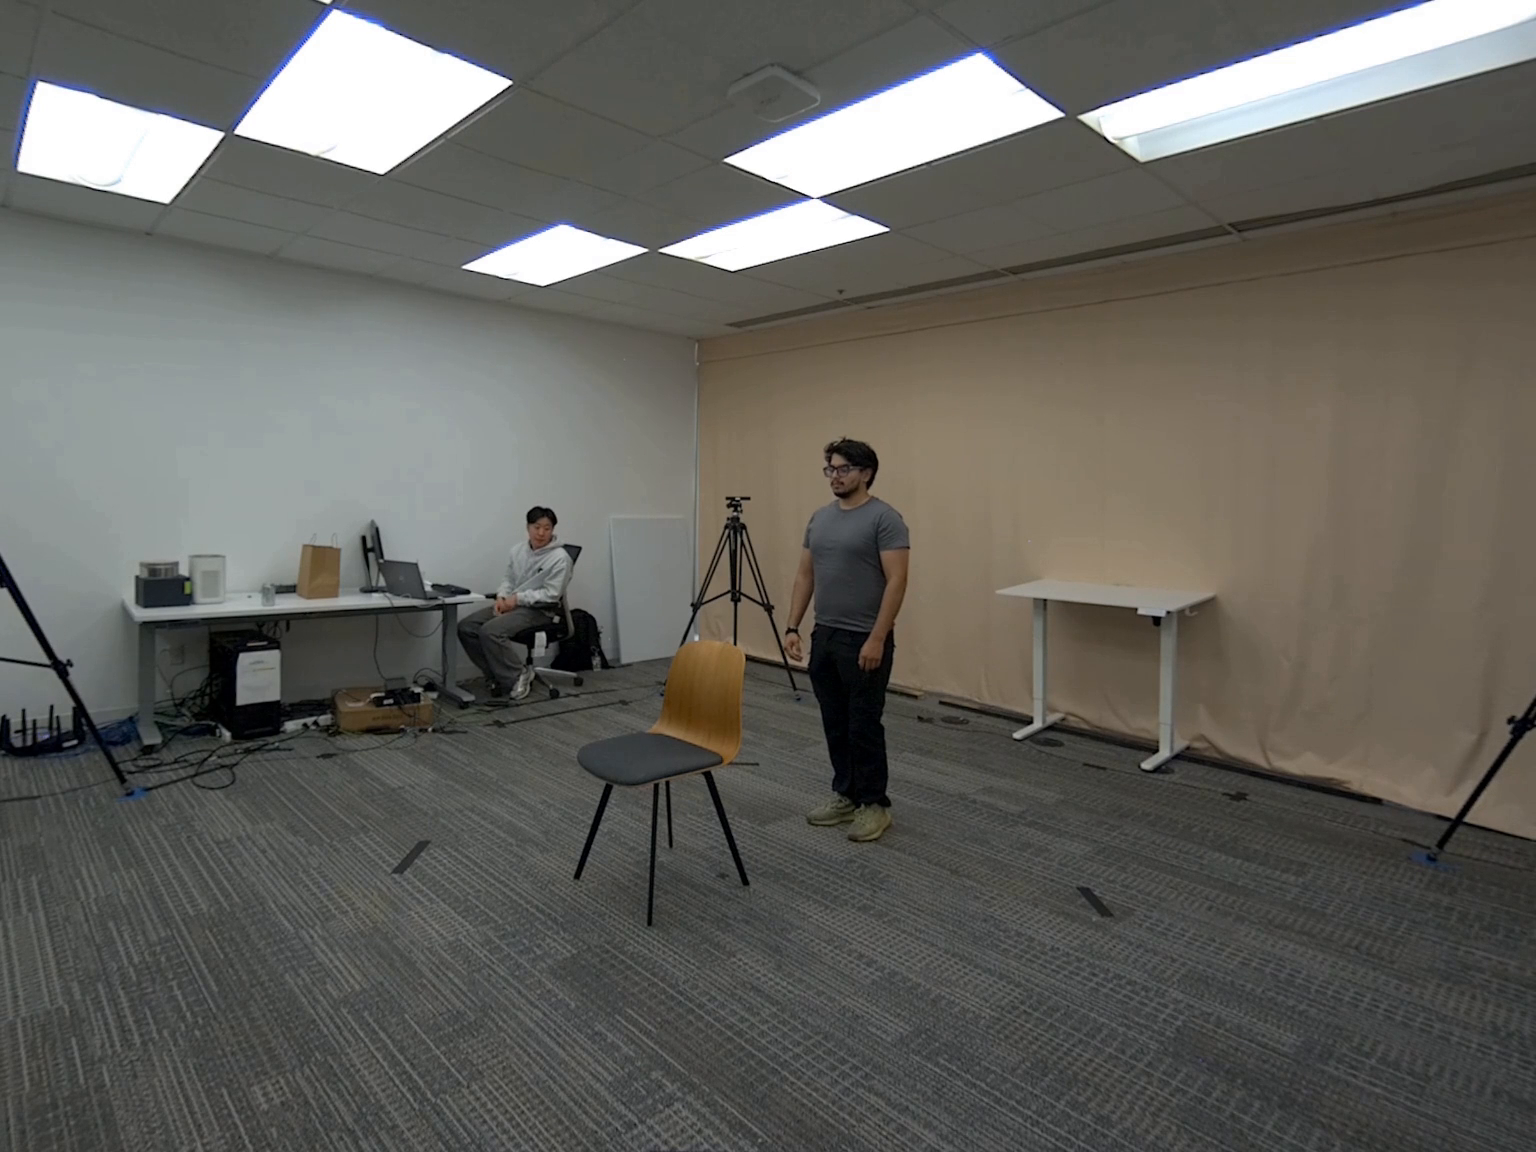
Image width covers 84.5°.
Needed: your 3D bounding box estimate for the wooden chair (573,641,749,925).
[{"bbox_3d":[-0.386,0.682,3.001,0.510,0.877,0.490,4,1,-44],"label":"wooden chair"}]
